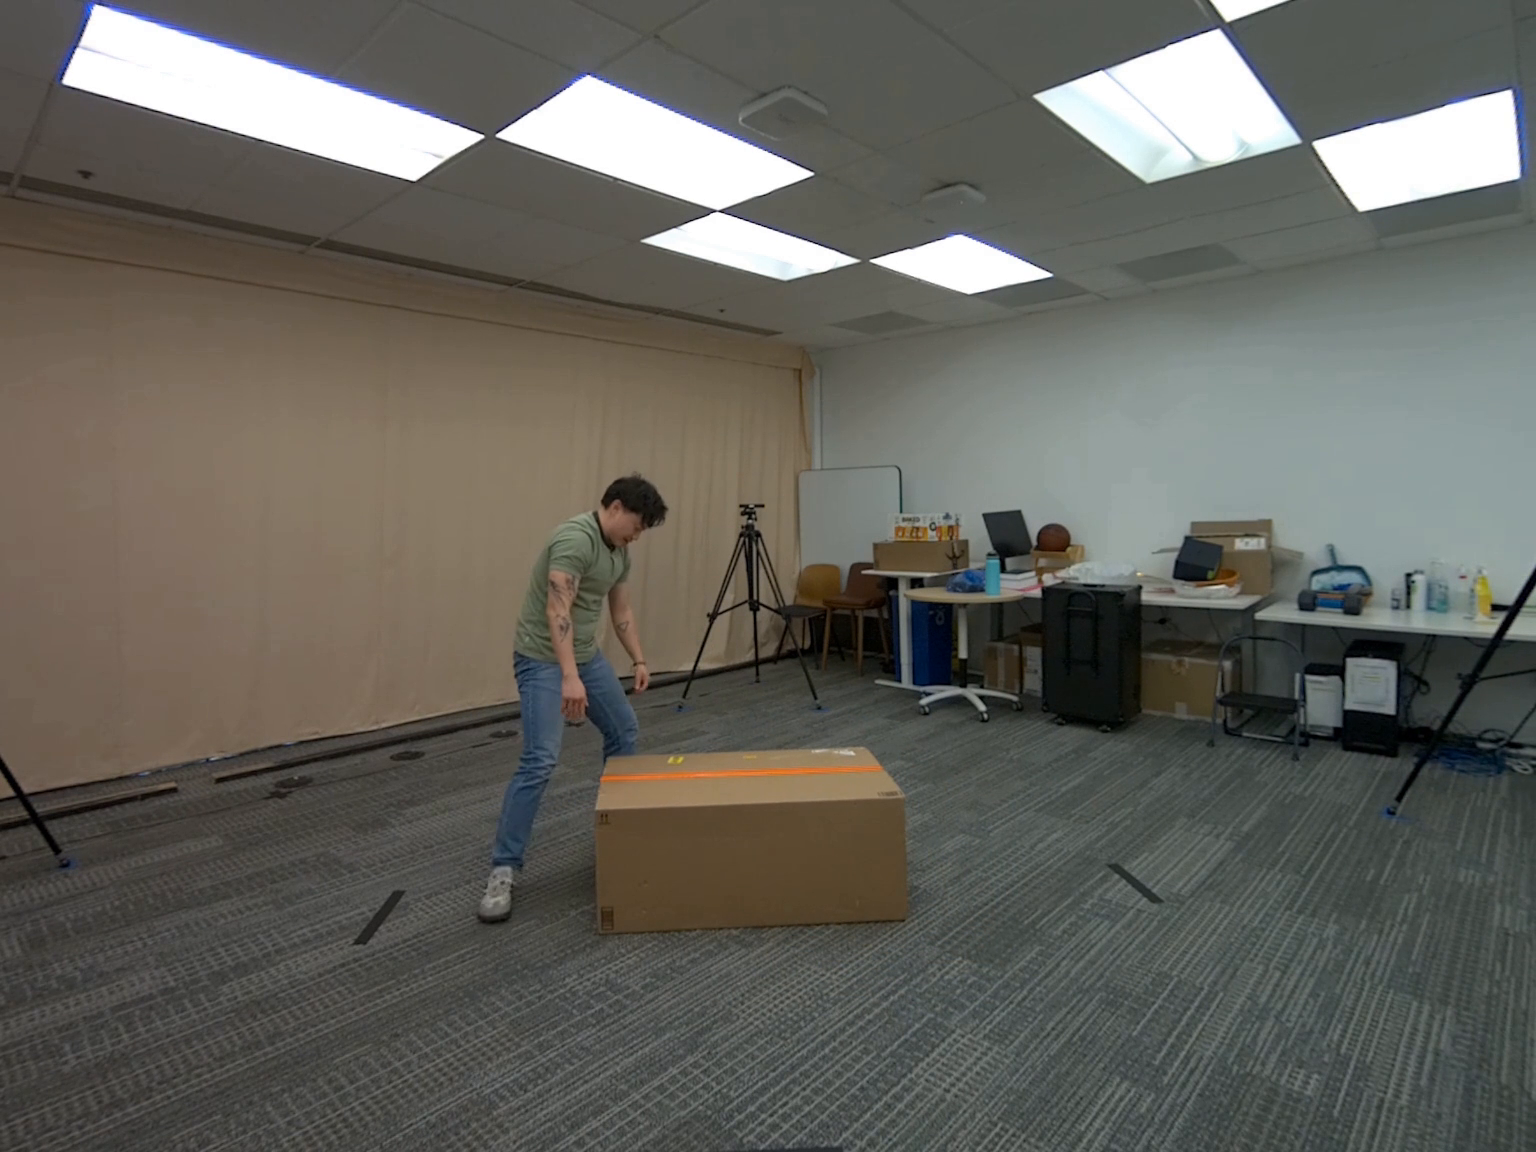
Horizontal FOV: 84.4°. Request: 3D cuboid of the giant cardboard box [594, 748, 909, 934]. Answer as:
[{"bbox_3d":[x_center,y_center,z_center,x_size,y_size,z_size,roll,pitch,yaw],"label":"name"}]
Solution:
[{"bbox_3d":[-0.077,0.920,3.036,1.022,0.425,0.581,-2,4,-4],"label":"giant cardboard box"}]
